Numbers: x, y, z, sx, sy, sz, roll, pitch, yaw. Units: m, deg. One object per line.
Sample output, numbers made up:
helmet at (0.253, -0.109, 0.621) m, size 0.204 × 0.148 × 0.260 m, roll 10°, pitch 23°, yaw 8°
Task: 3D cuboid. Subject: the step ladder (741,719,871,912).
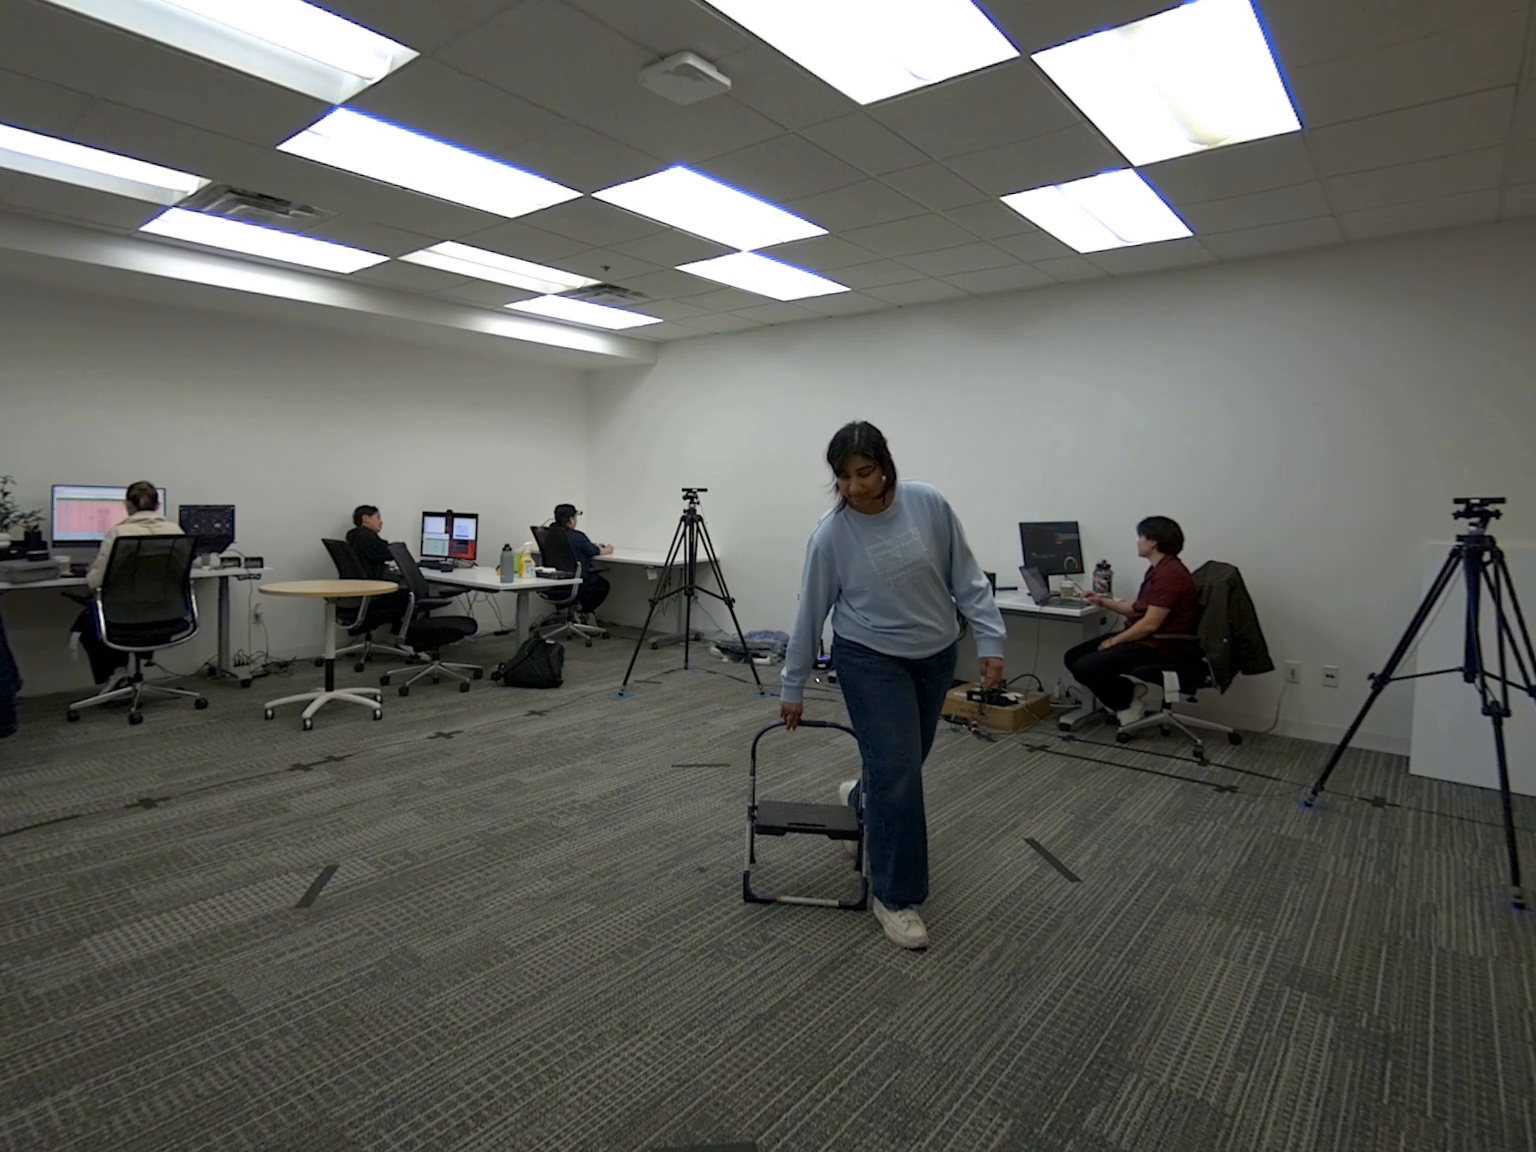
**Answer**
step ladder at (0.125, 0.787, 2.990) m, size 0.433 × 0.604 × 0.348 m, roll 1°, pitch 3°, yaw 4°
